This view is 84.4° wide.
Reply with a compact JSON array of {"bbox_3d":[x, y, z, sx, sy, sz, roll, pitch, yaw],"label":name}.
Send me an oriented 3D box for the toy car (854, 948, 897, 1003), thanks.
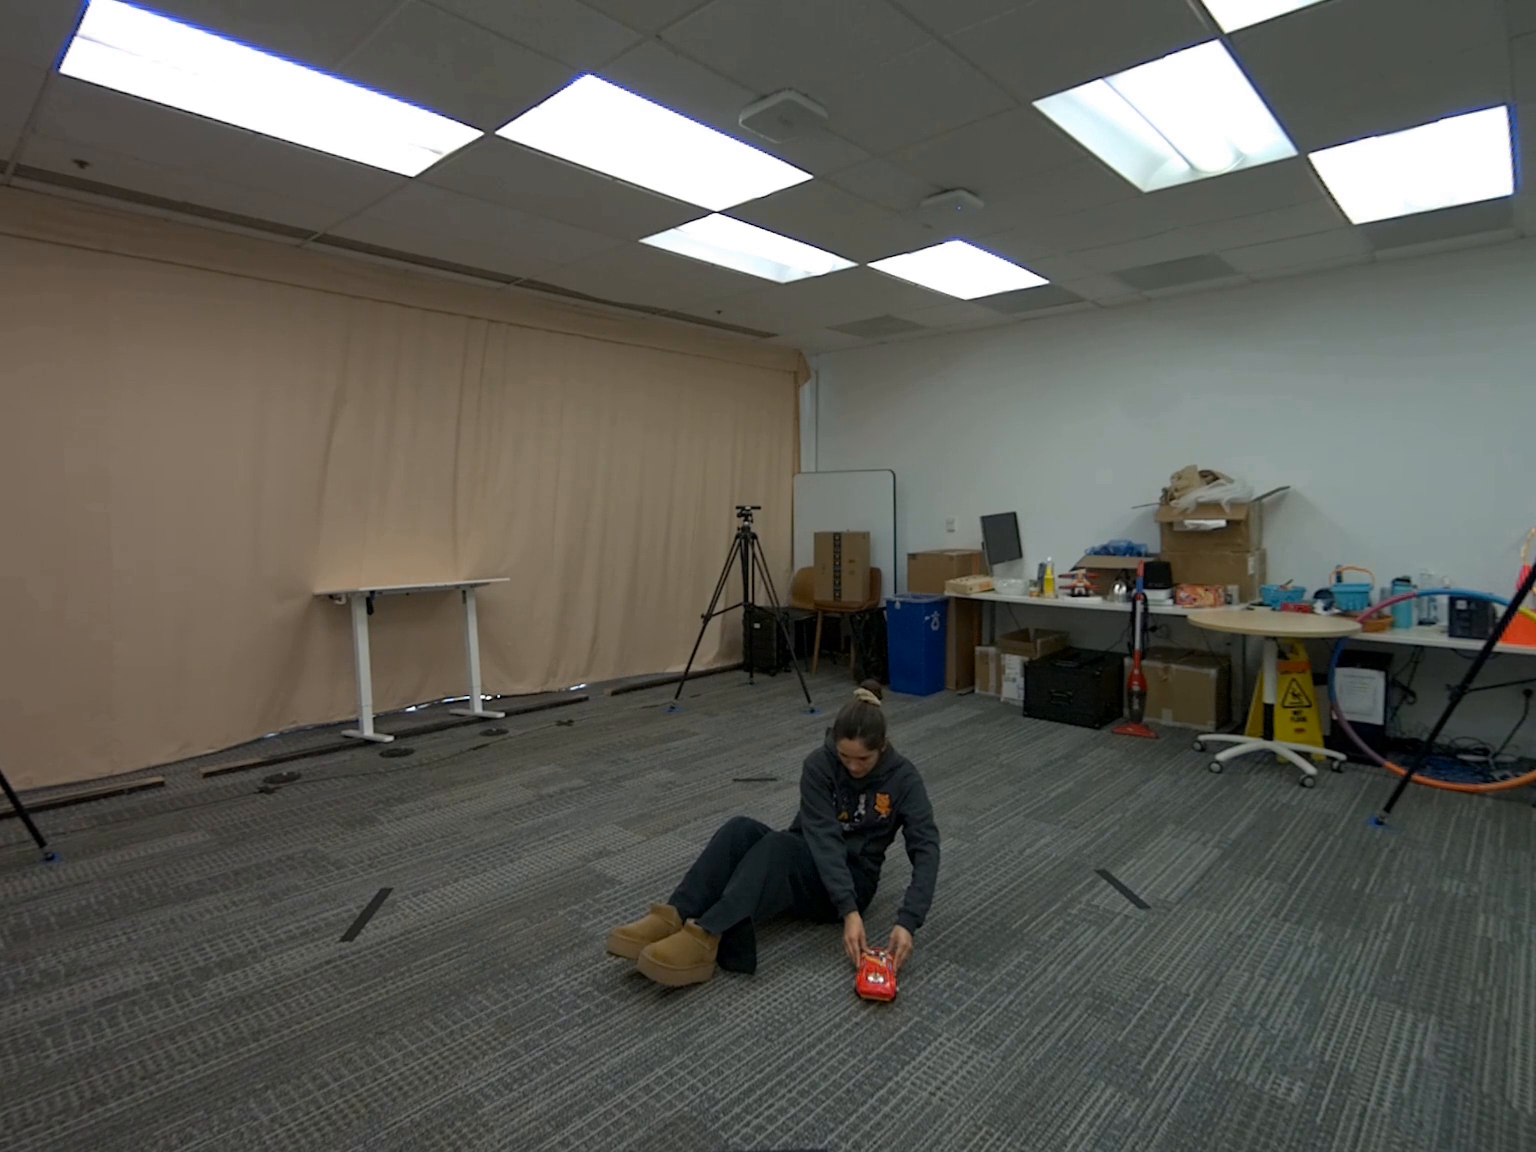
[{"bbox_3d":[0.318,1.138,2.434,0.132,0.083,0.250,0,-7,8],"label":"toy car"}]
